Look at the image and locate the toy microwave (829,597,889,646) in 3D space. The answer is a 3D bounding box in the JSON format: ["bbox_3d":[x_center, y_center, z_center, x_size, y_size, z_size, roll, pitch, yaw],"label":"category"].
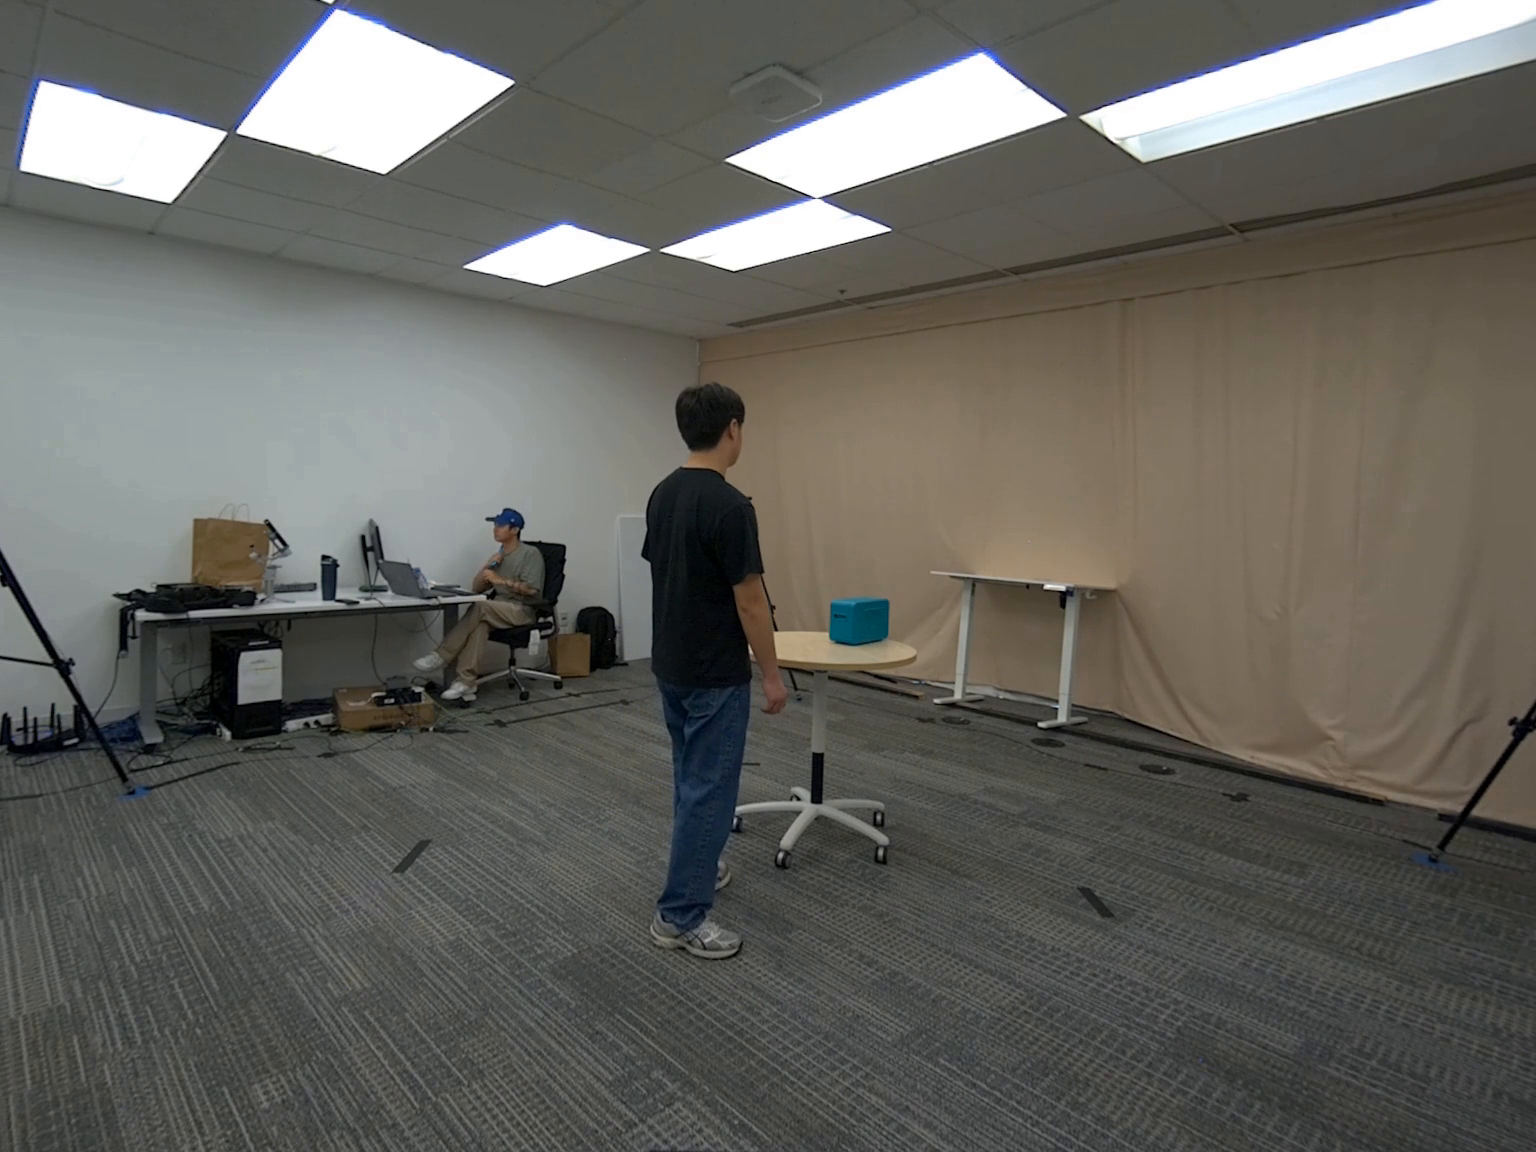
[{"bbox_3d":[0.382,0.190,3.617,0.156,0.184,0.280,4,5,41],"label":"toy microwave"}]
